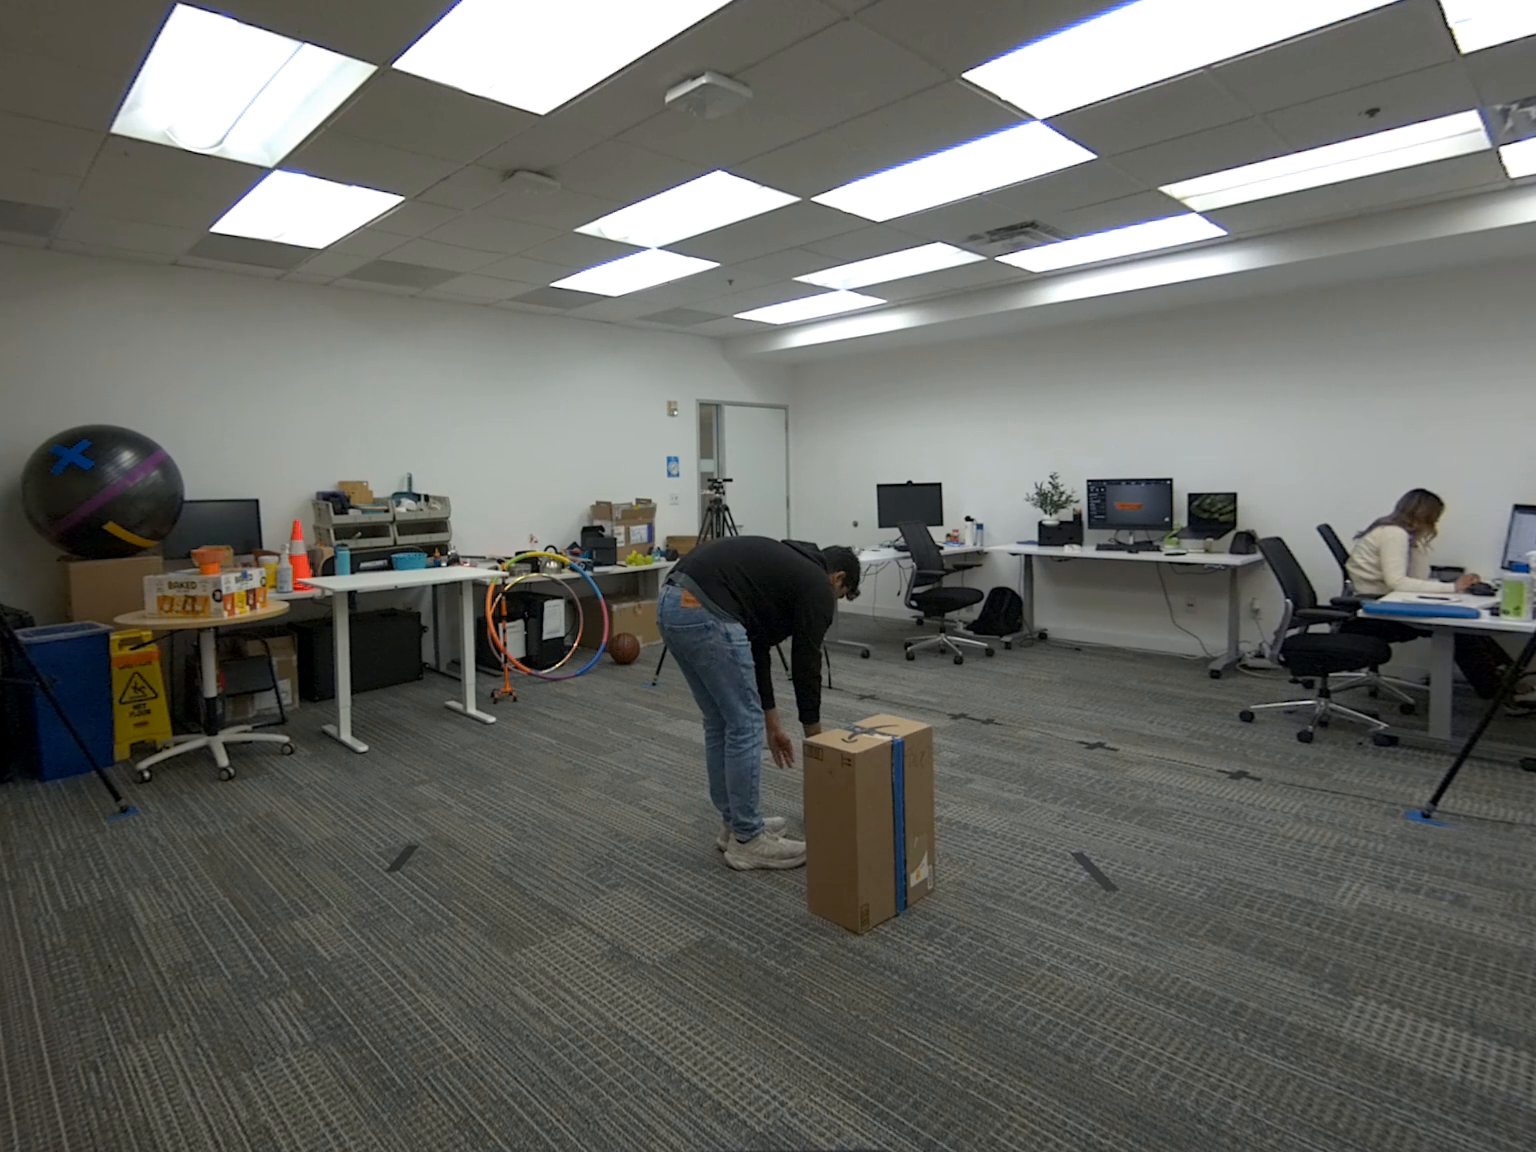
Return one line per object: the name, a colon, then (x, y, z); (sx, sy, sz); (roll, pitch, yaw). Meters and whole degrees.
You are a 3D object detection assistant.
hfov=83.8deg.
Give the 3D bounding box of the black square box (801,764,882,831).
black square box: (0.290, 0.876, 3.418); (0.211, 0.155, 0.234); (-2, 6, -33)
